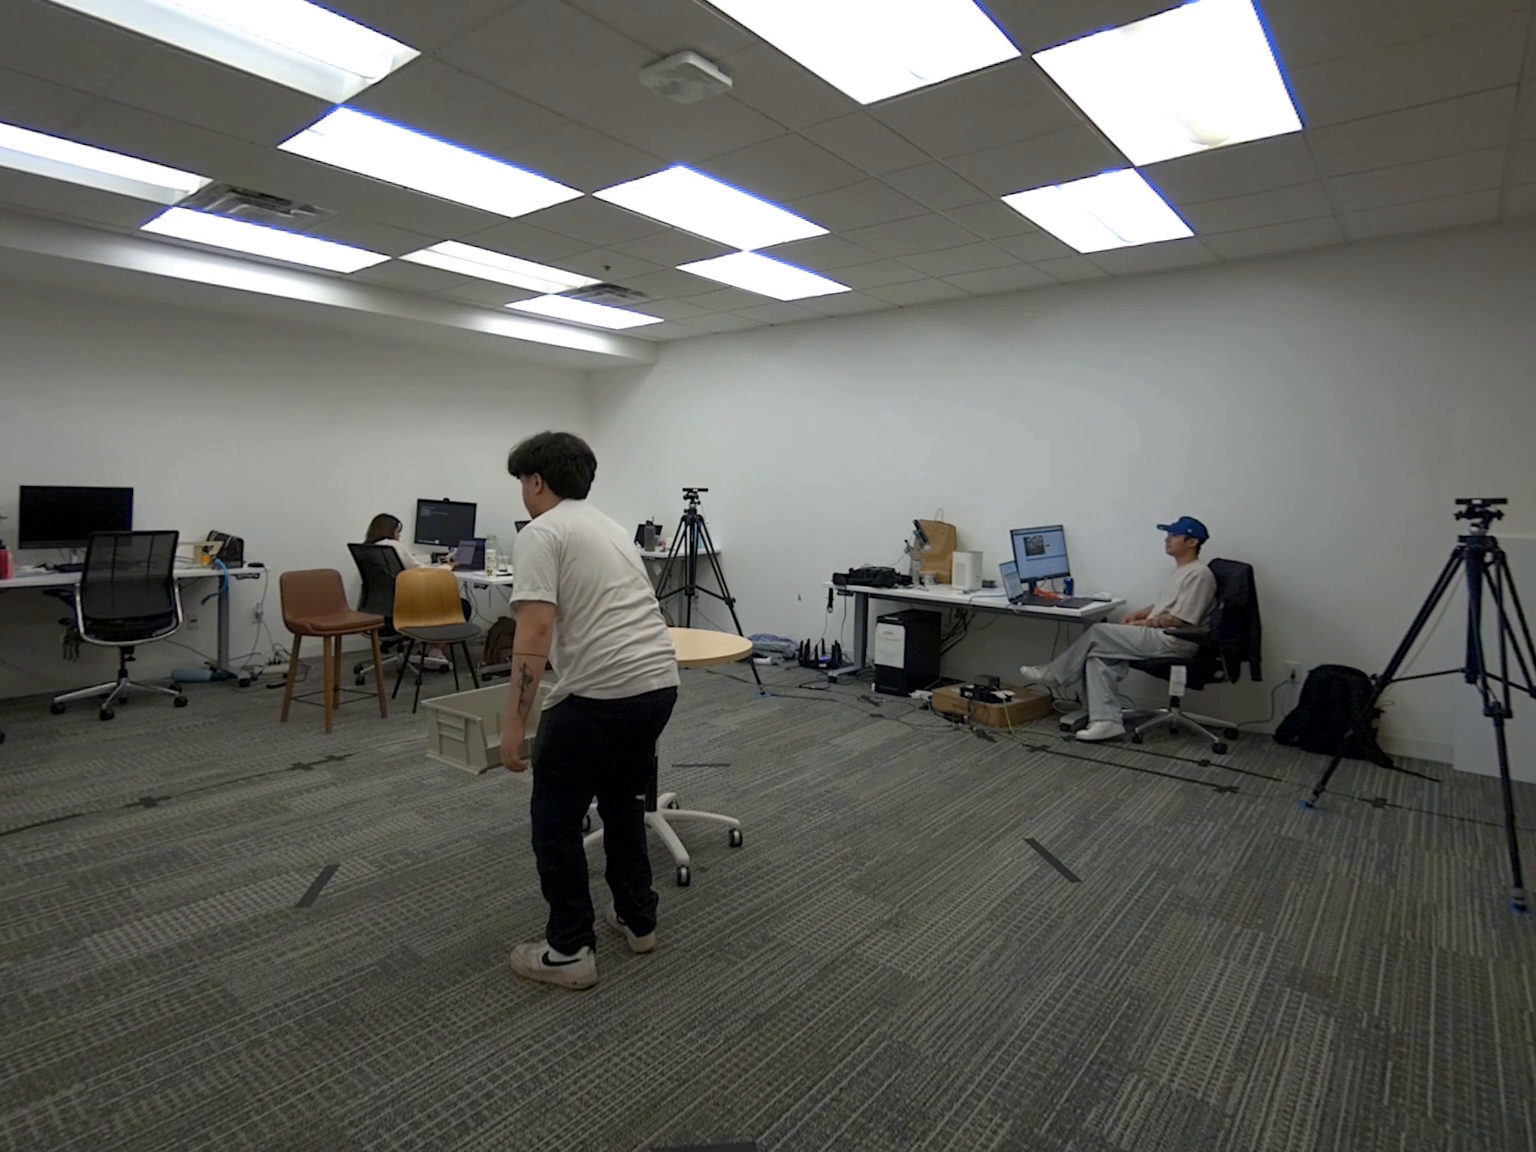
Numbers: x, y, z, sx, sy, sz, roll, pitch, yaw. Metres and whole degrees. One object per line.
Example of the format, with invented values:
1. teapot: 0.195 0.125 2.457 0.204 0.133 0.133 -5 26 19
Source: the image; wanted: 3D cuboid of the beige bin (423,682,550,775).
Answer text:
1. beige bin: -0.848 0.484 2.755 0.389 0.188 0.410 0 5 40
